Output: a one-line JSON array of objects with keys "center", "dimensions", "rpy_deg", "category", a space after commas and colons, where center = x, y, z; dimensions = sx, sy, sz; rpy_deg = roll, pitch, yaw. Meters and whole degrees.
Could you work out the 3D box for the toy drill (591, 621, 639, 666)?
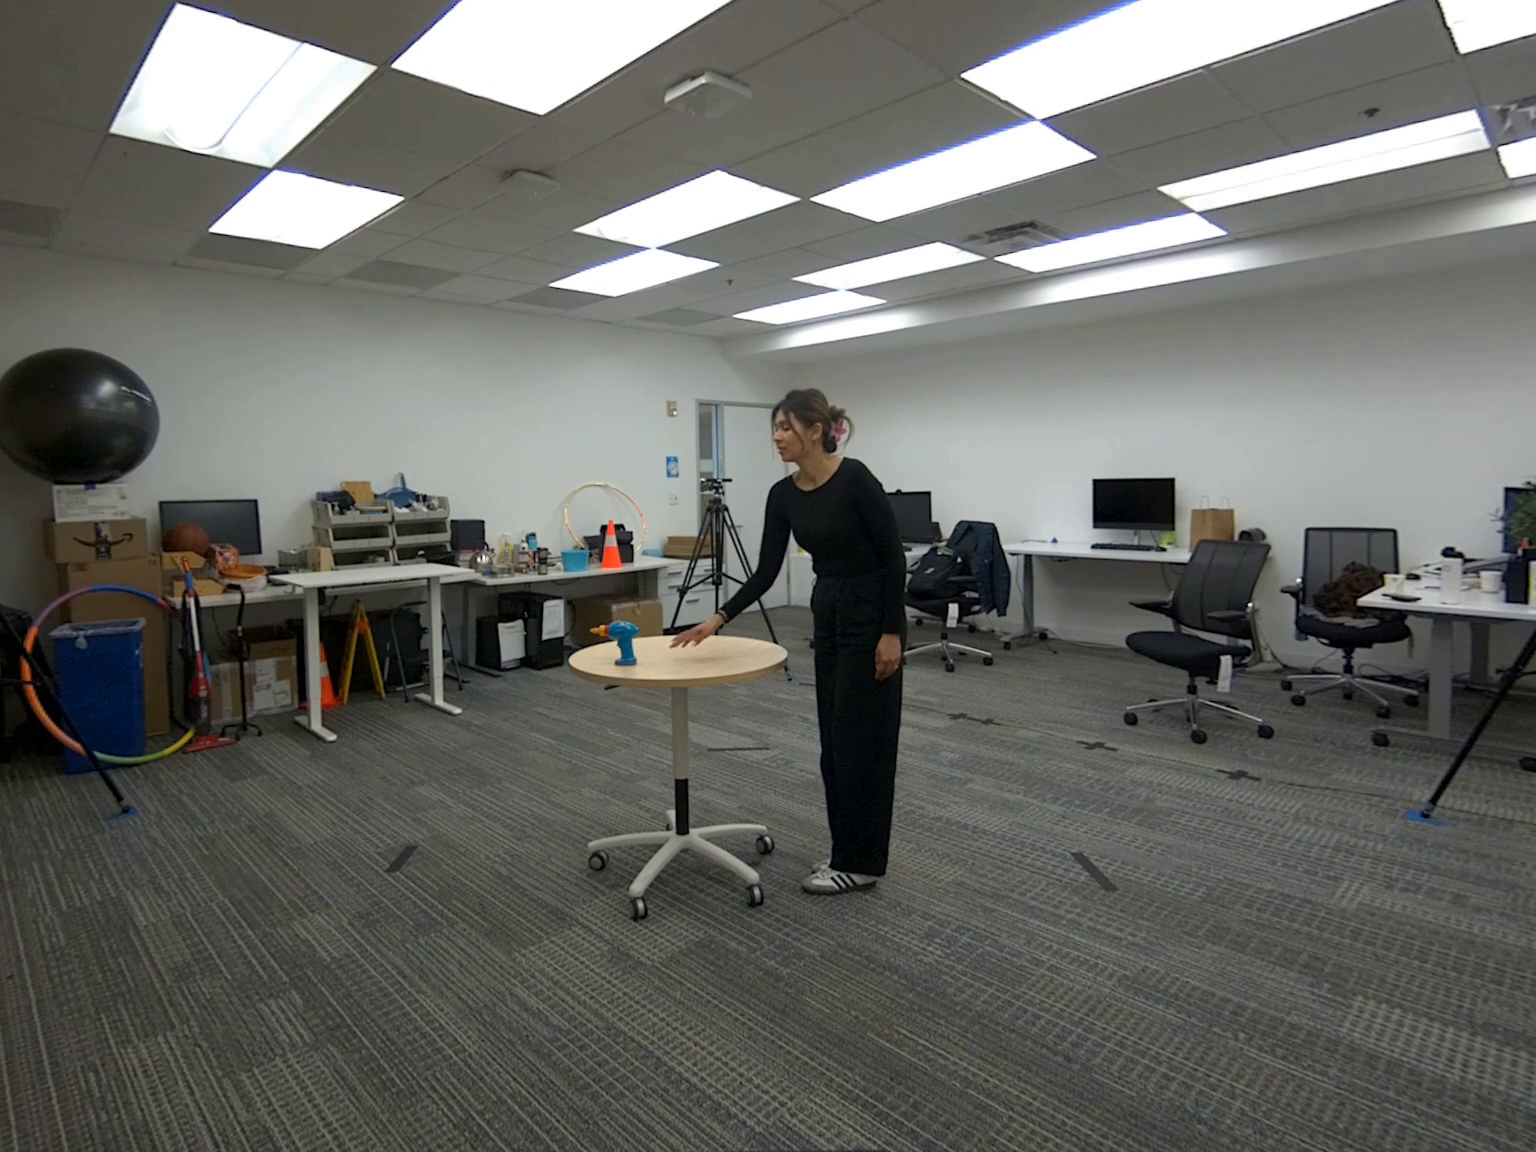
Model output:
[{"center": [-0.513, 0.221, 2.868], "dimensions": [0.171, 0.146, 0.061], "rpy_deg": [0, 1, 6], "category": "toy drill"}]
